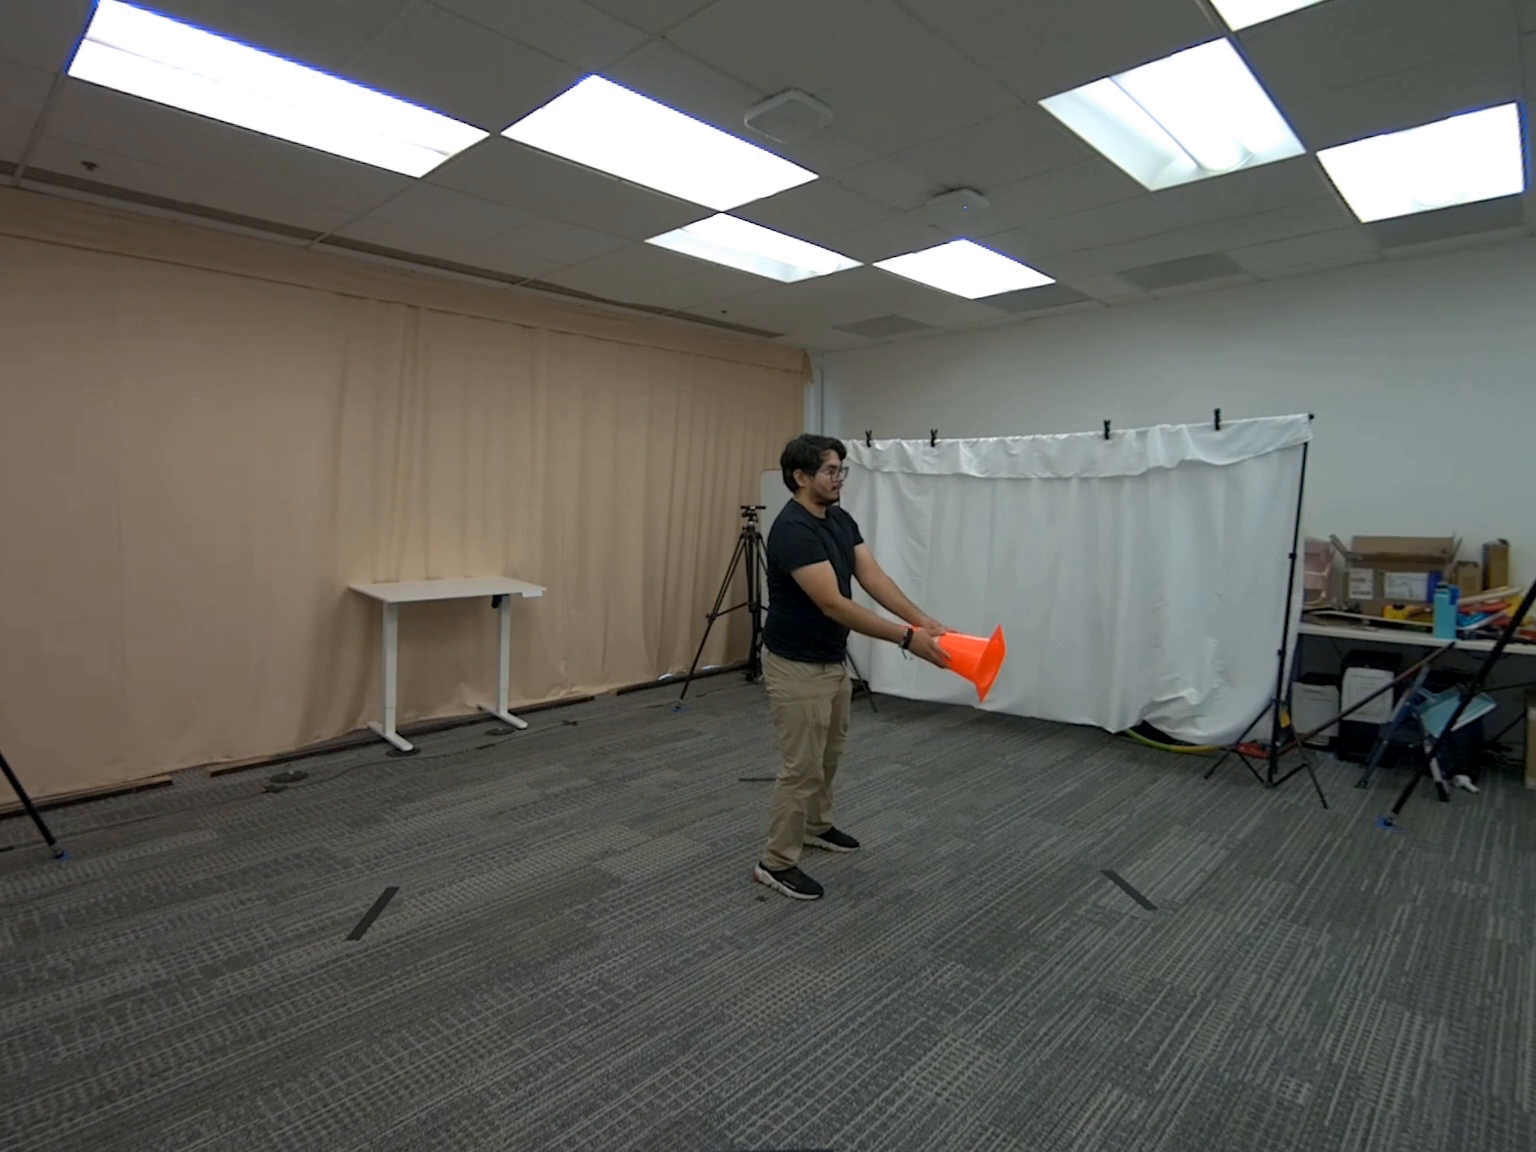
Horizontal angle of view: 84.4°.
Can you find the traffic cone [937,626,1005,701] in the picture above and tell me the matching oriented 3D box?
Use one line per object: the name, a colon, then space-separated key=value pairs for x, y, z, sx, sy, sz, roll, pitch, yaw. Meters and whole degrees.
traffic cone: x=0.573 y=0.239 z=2.788 sx=0.397 sy=0.203 sz=0.198 roll=19 pitch=-26 yaw=37
